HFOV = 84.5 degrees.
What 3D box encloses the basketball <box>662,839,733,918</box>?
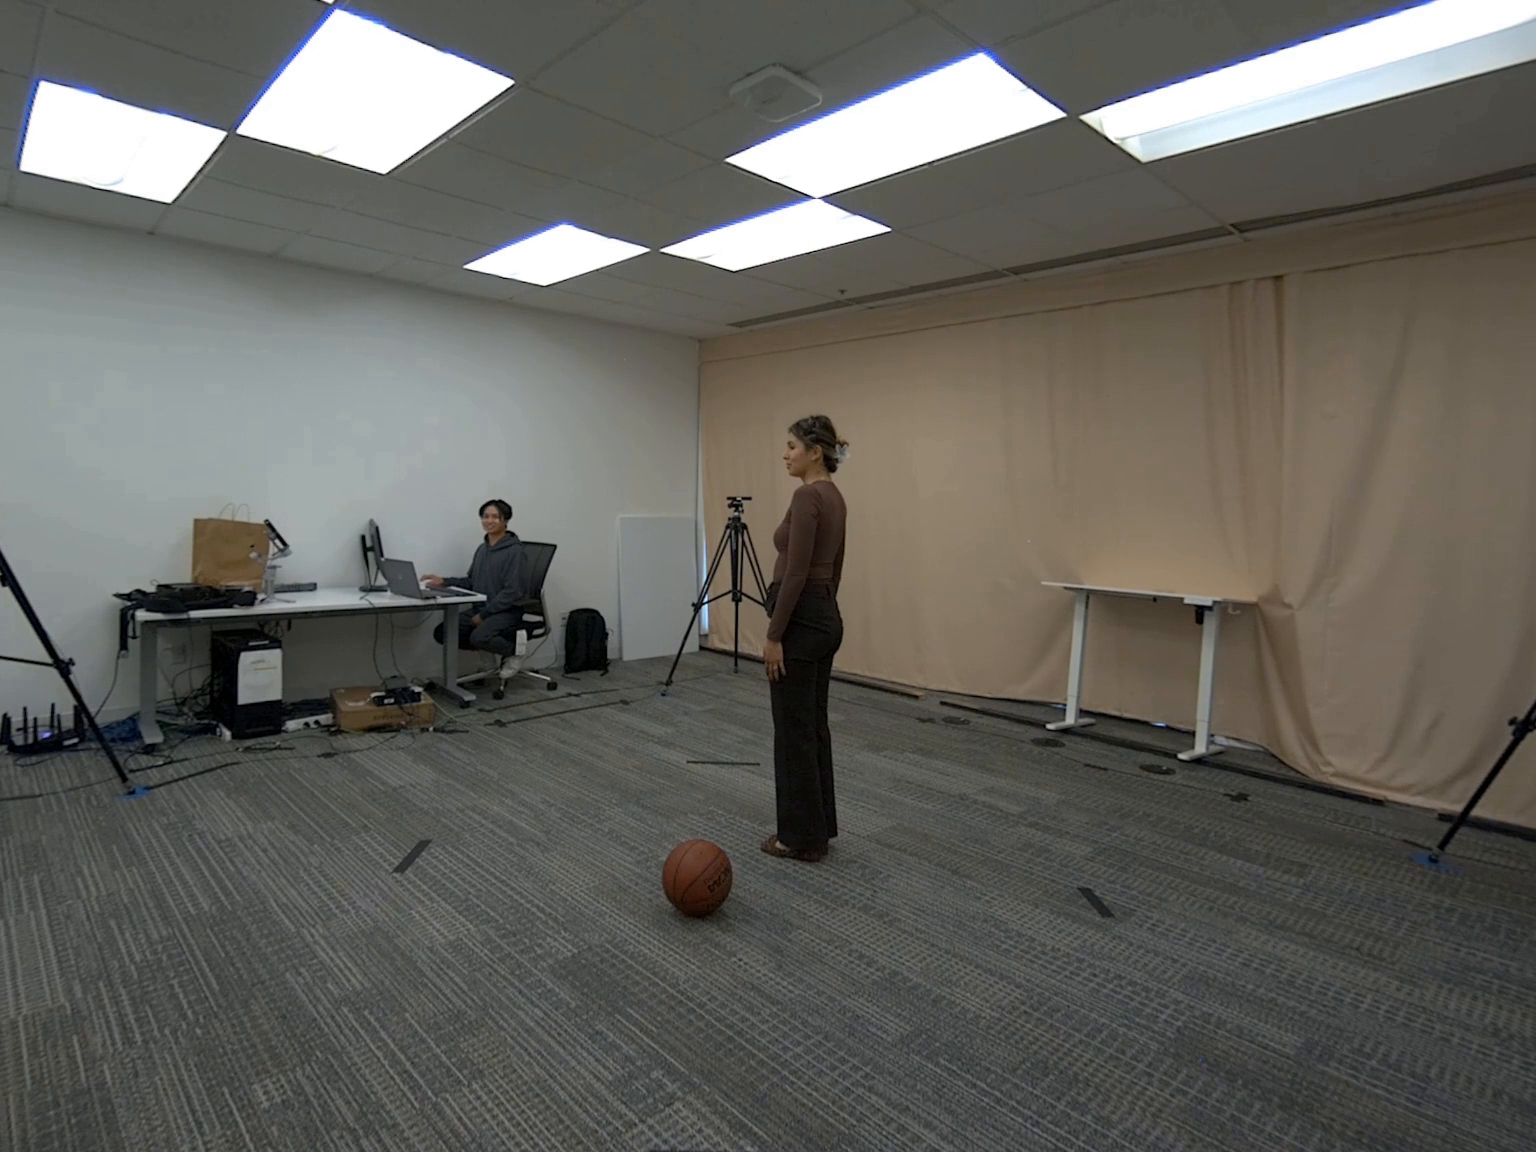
[{"bbox_3d":[-0.243,1.006,2.823,0.236,0.235,0.237,1,4,-1],"label":"basketball"}]
